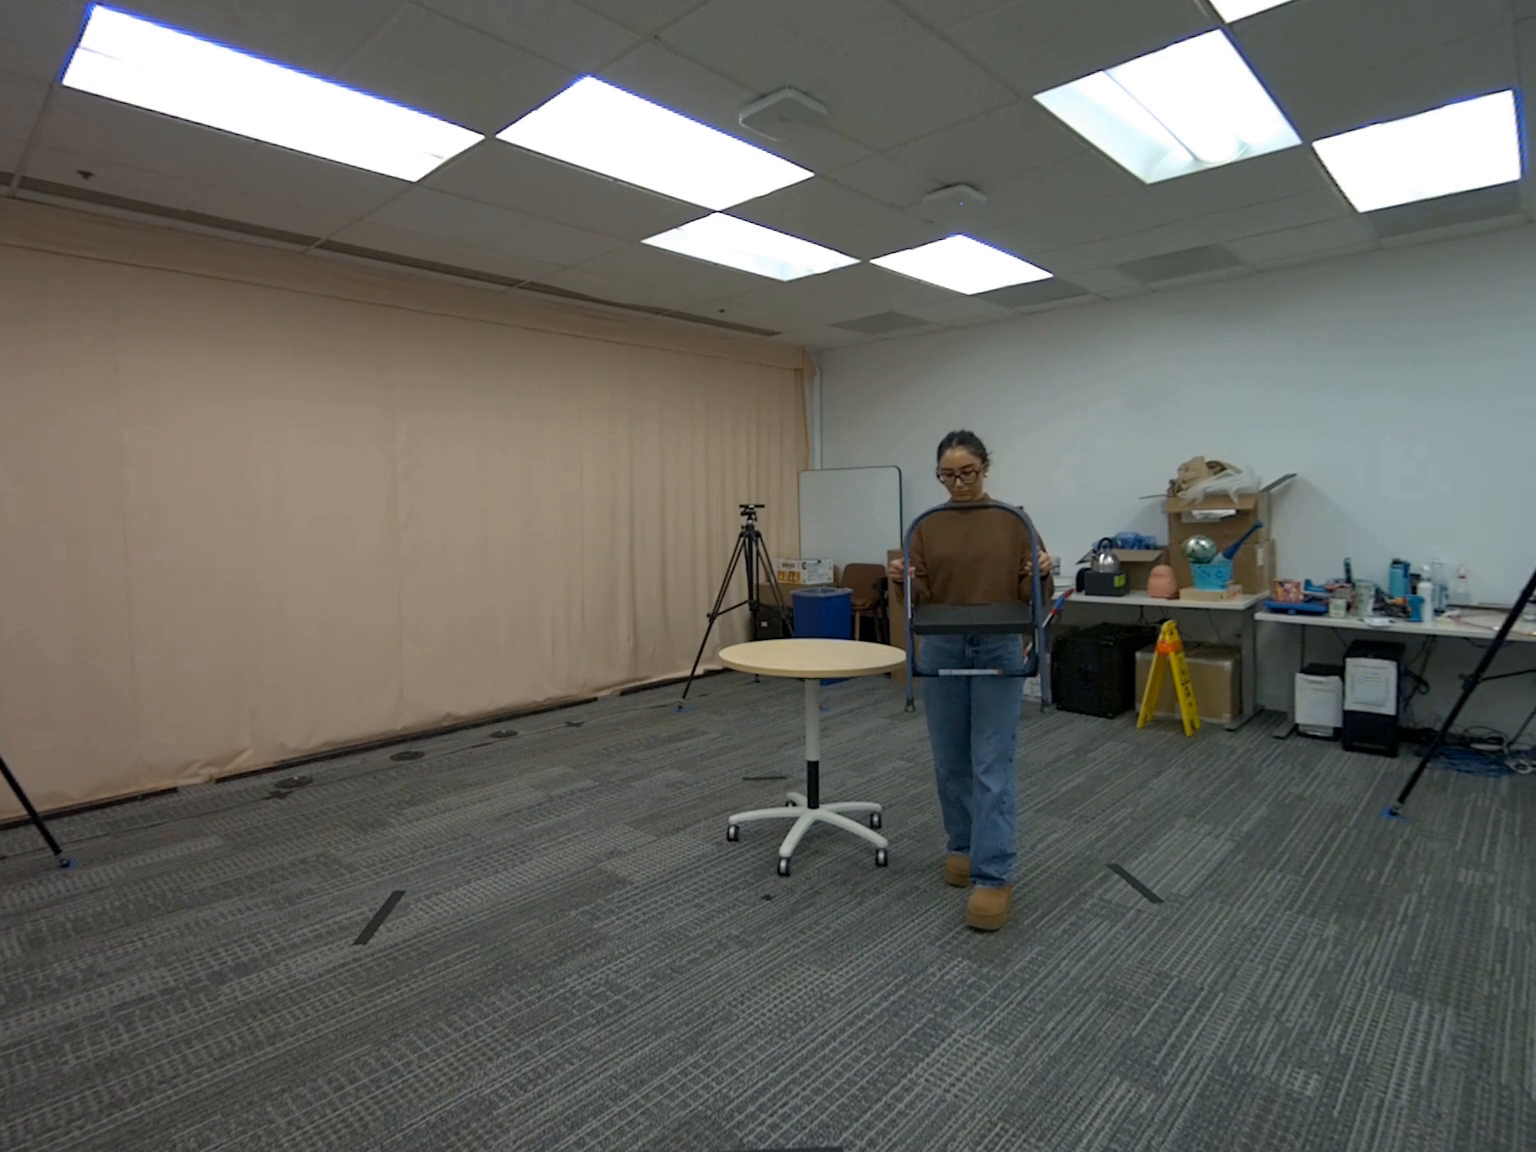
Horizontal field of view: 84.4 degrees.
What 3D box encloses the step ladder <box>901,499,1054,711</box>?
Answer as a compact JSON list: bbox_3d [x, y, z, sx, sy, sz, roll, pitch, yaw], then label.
[{"bbox_3d":[0.646,0.082,2.662,0.437,0.602,0.346,-3,9,13],"label":"step ladder"}]
